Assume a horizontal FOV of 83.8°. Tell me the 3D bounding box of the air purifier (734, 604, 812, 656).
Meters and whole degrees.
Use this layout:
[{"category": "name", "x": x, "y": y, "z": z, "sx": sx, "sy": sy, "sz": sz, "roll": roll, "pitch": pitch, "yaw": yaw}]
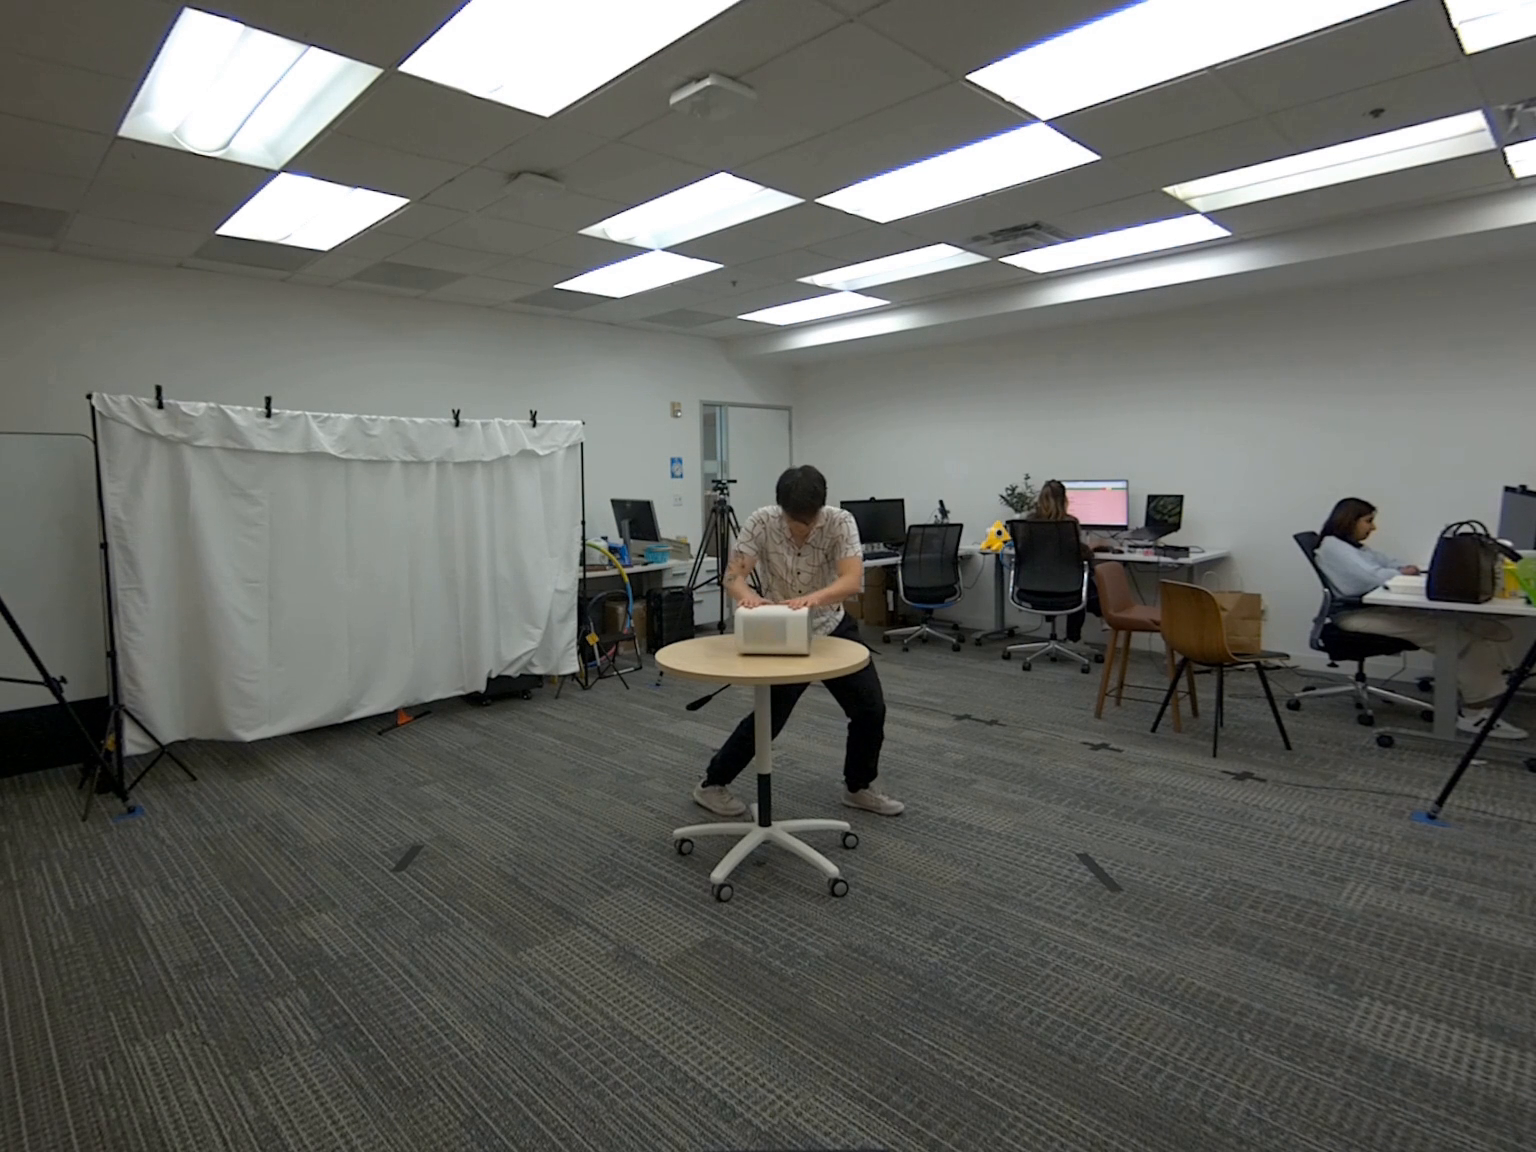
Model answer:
[{"category": "air purifier", "x": 0.022, "y": 0.184, "z": 3.041, "sx": 0.268, "sy": 0.171, "sz": 0.170, "roll": -2, "pitch": 4, "yaw": 9}]
